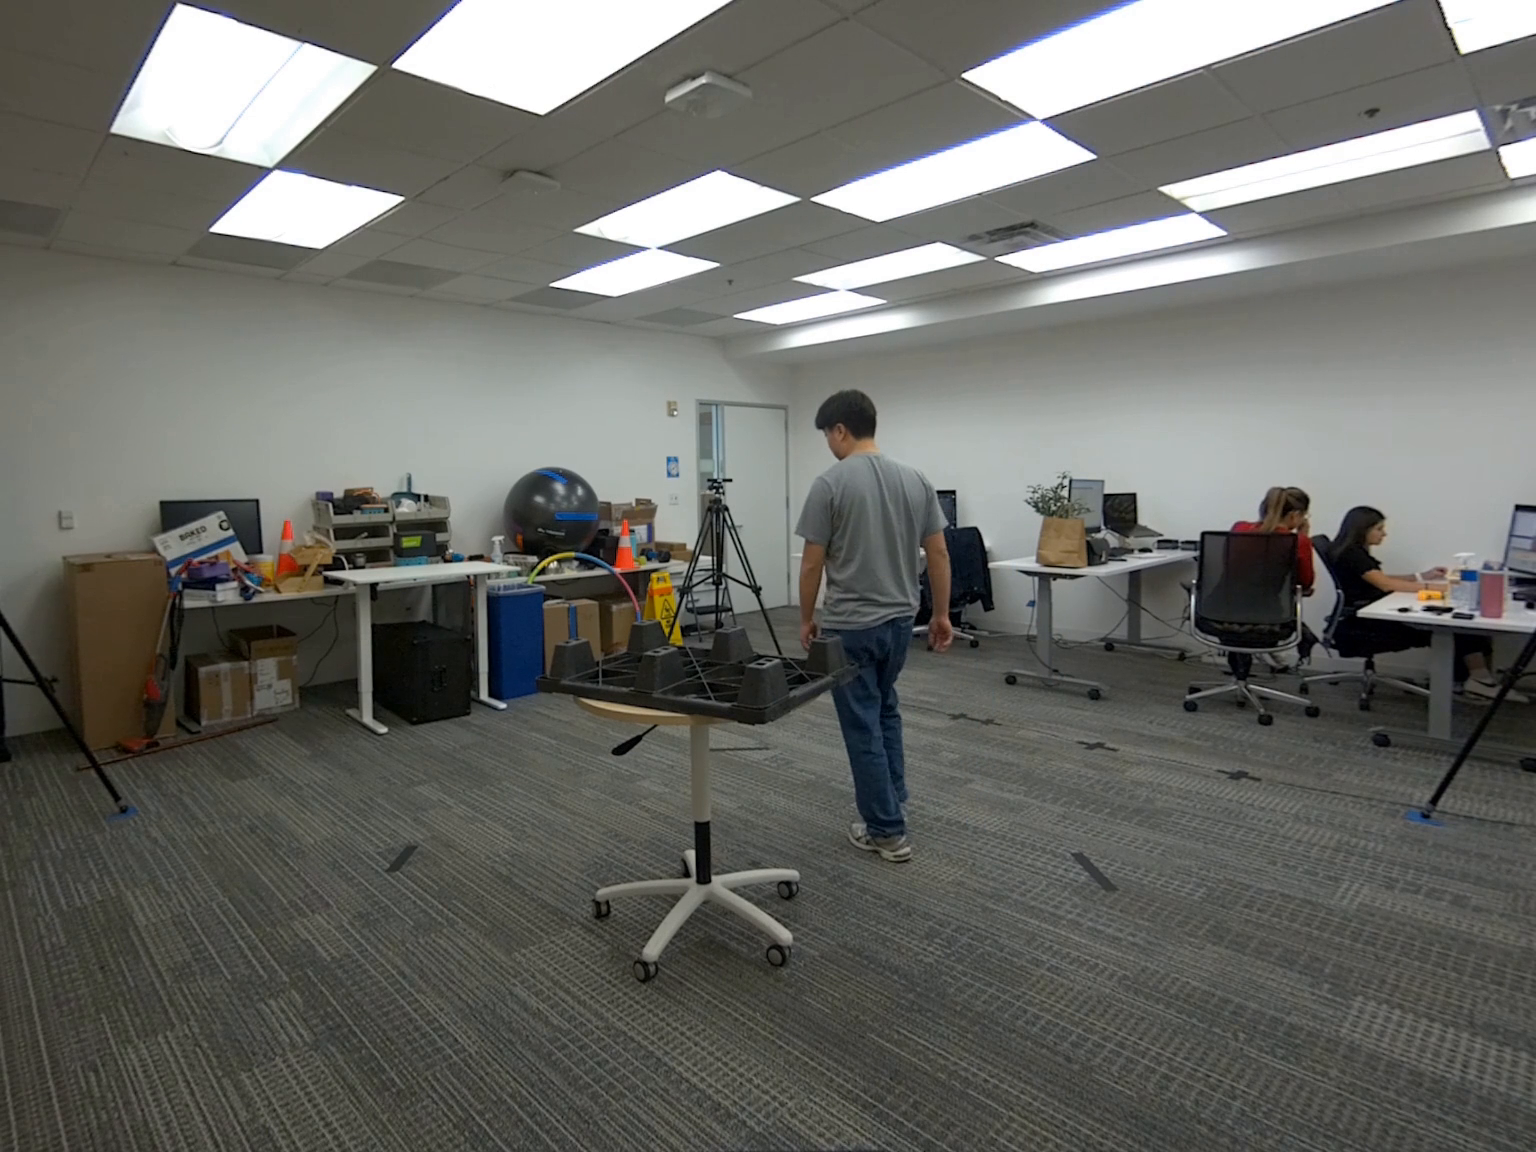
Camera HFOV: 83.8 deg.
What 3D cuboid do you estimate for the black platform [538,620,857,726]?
[{"bbox_3d":[-0.202,0.262,2.592,0.827,0.142,0.592,2,8,31],"label":"black platform"}]
